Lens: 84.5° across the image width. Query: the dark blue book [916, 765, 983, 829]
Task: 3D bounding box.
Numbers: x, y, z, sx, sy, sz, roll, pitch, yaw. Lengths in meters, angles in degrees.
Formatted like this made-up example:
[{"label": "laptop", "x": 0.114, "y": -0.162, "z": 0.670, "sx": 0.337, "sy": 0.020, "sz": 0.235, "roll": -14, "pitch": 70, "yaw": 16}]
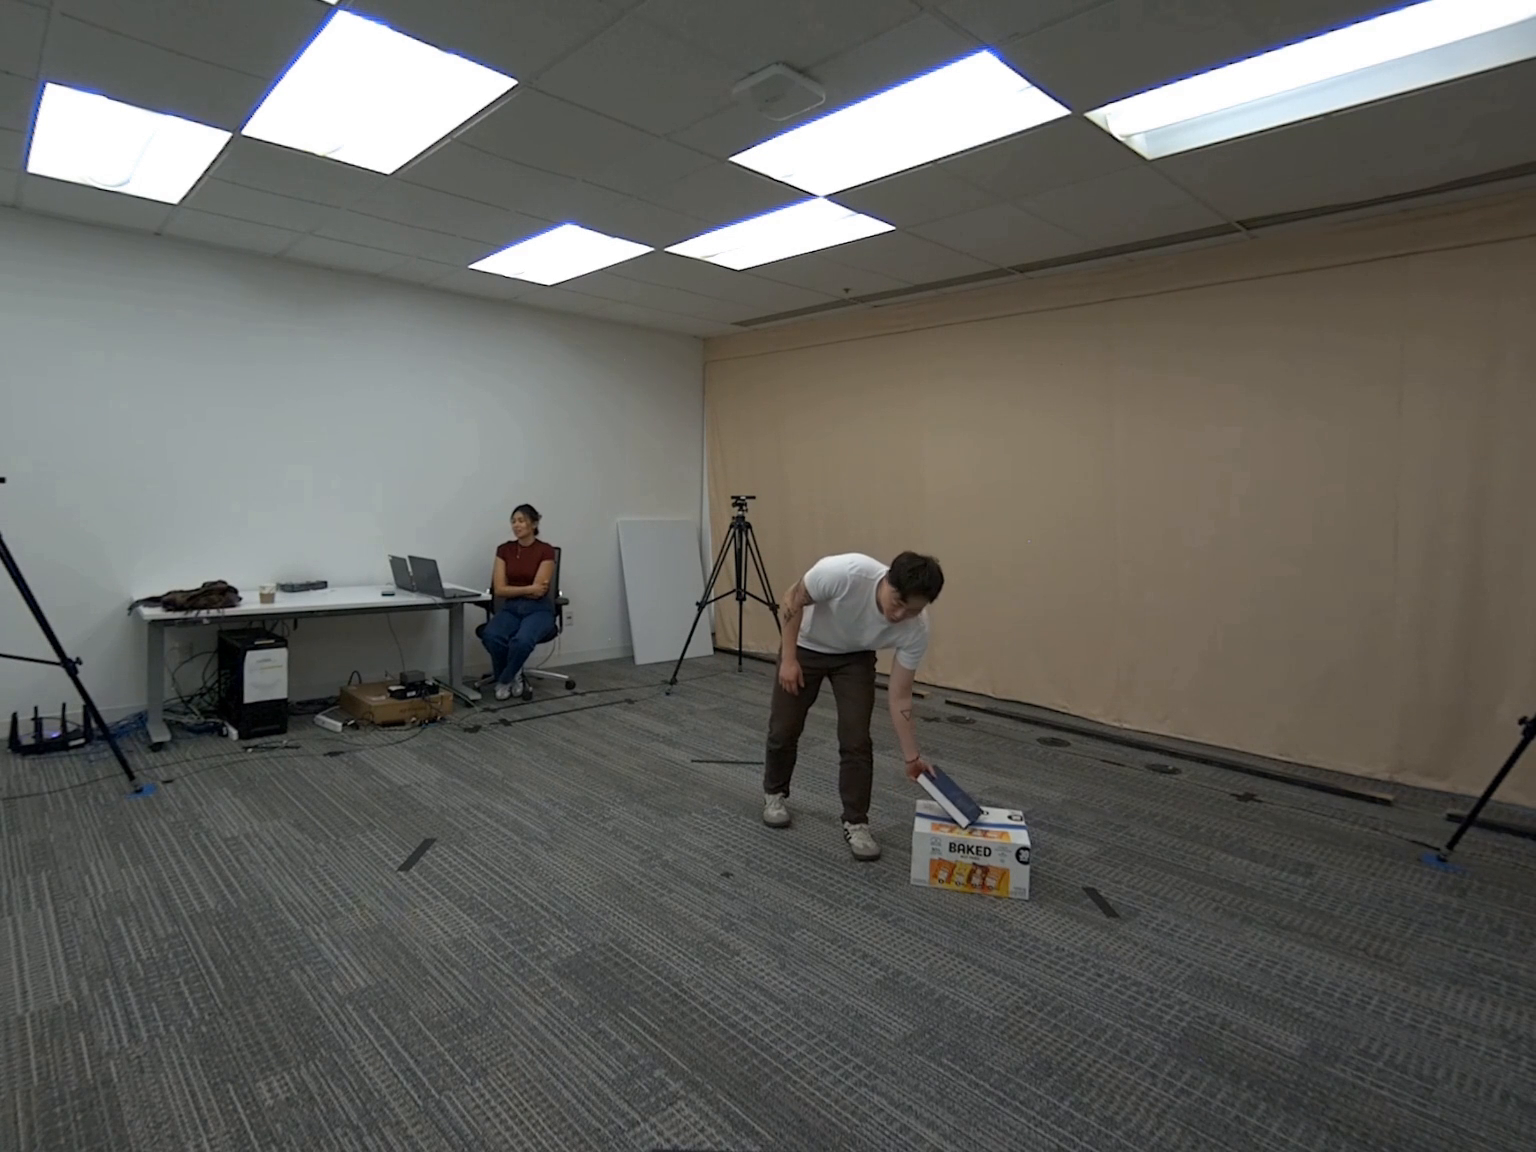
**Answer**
[{"label": "dark blue book", "x": 0.688, "y": 0.836, "z": 3.188, "sx": 0.251, "sy": 0.045, "sz": 0.160, "roll": 44, "pitch": 23, "yaw": 26}]
